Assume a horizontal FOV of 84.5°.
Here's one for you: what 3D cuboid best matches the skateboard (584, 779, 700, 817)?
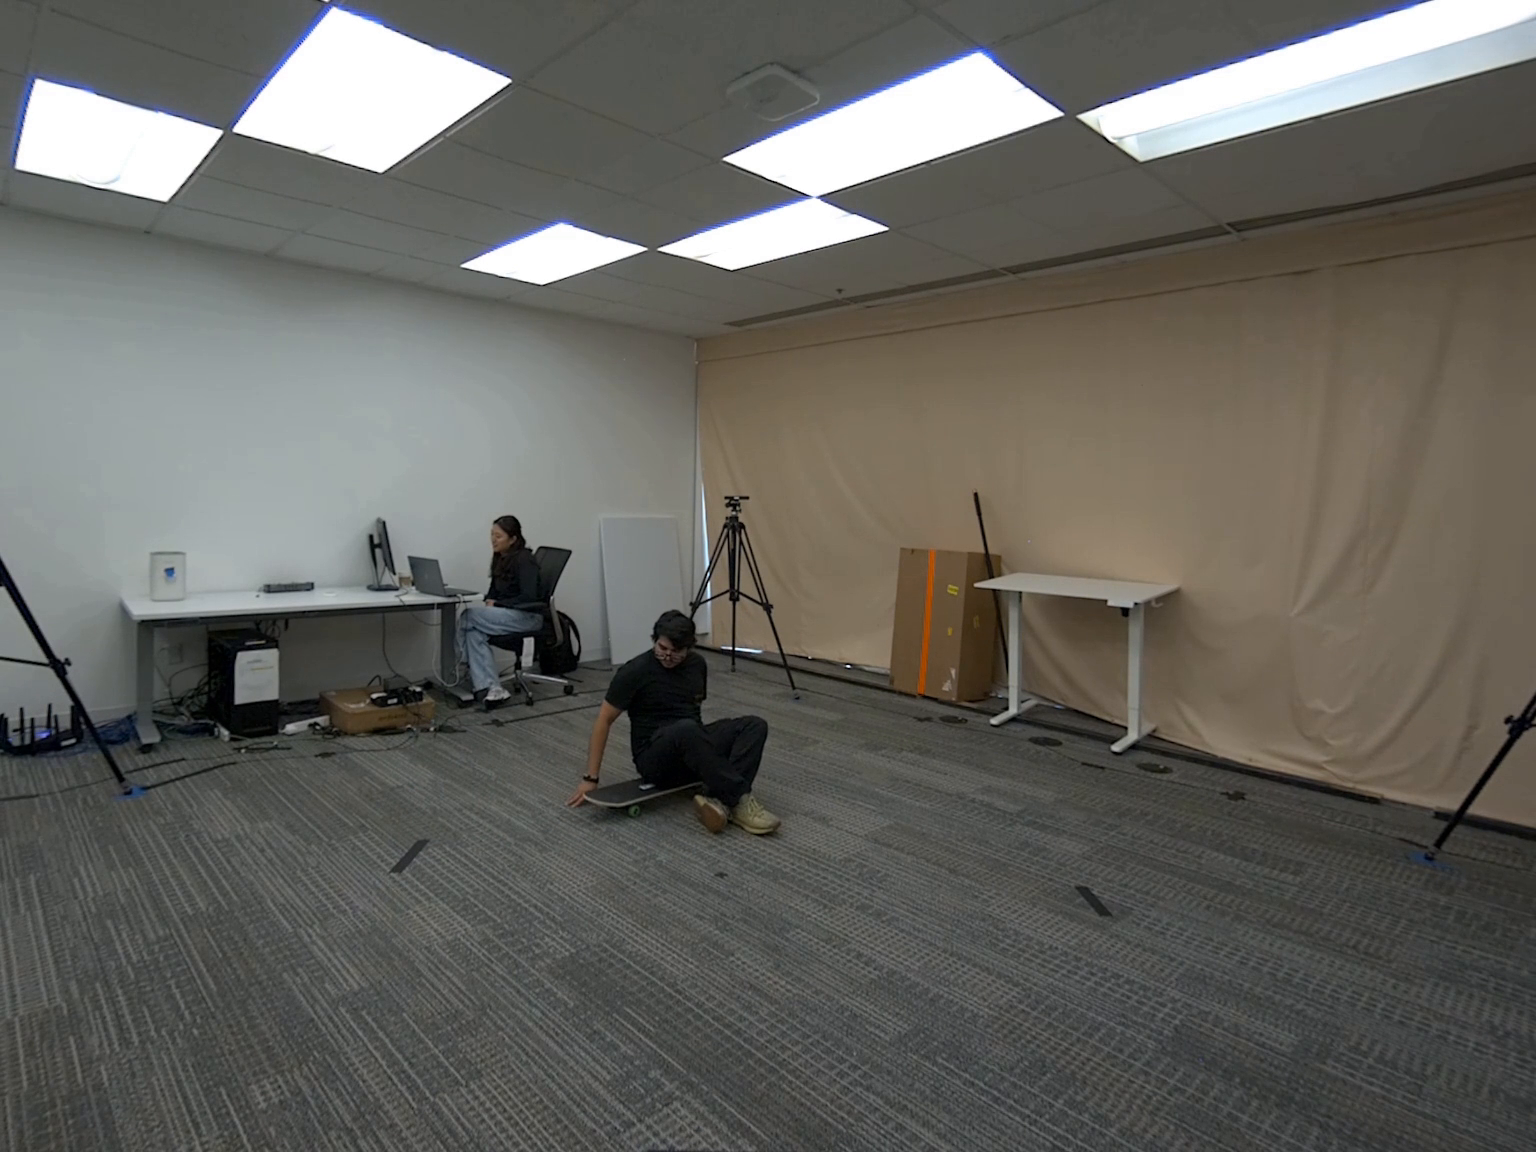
[{"bbox_3d":[-0.509,0.972,3.842,0.767,0.110,0.199,-3,9,-43],"label":"skateboard"}]
